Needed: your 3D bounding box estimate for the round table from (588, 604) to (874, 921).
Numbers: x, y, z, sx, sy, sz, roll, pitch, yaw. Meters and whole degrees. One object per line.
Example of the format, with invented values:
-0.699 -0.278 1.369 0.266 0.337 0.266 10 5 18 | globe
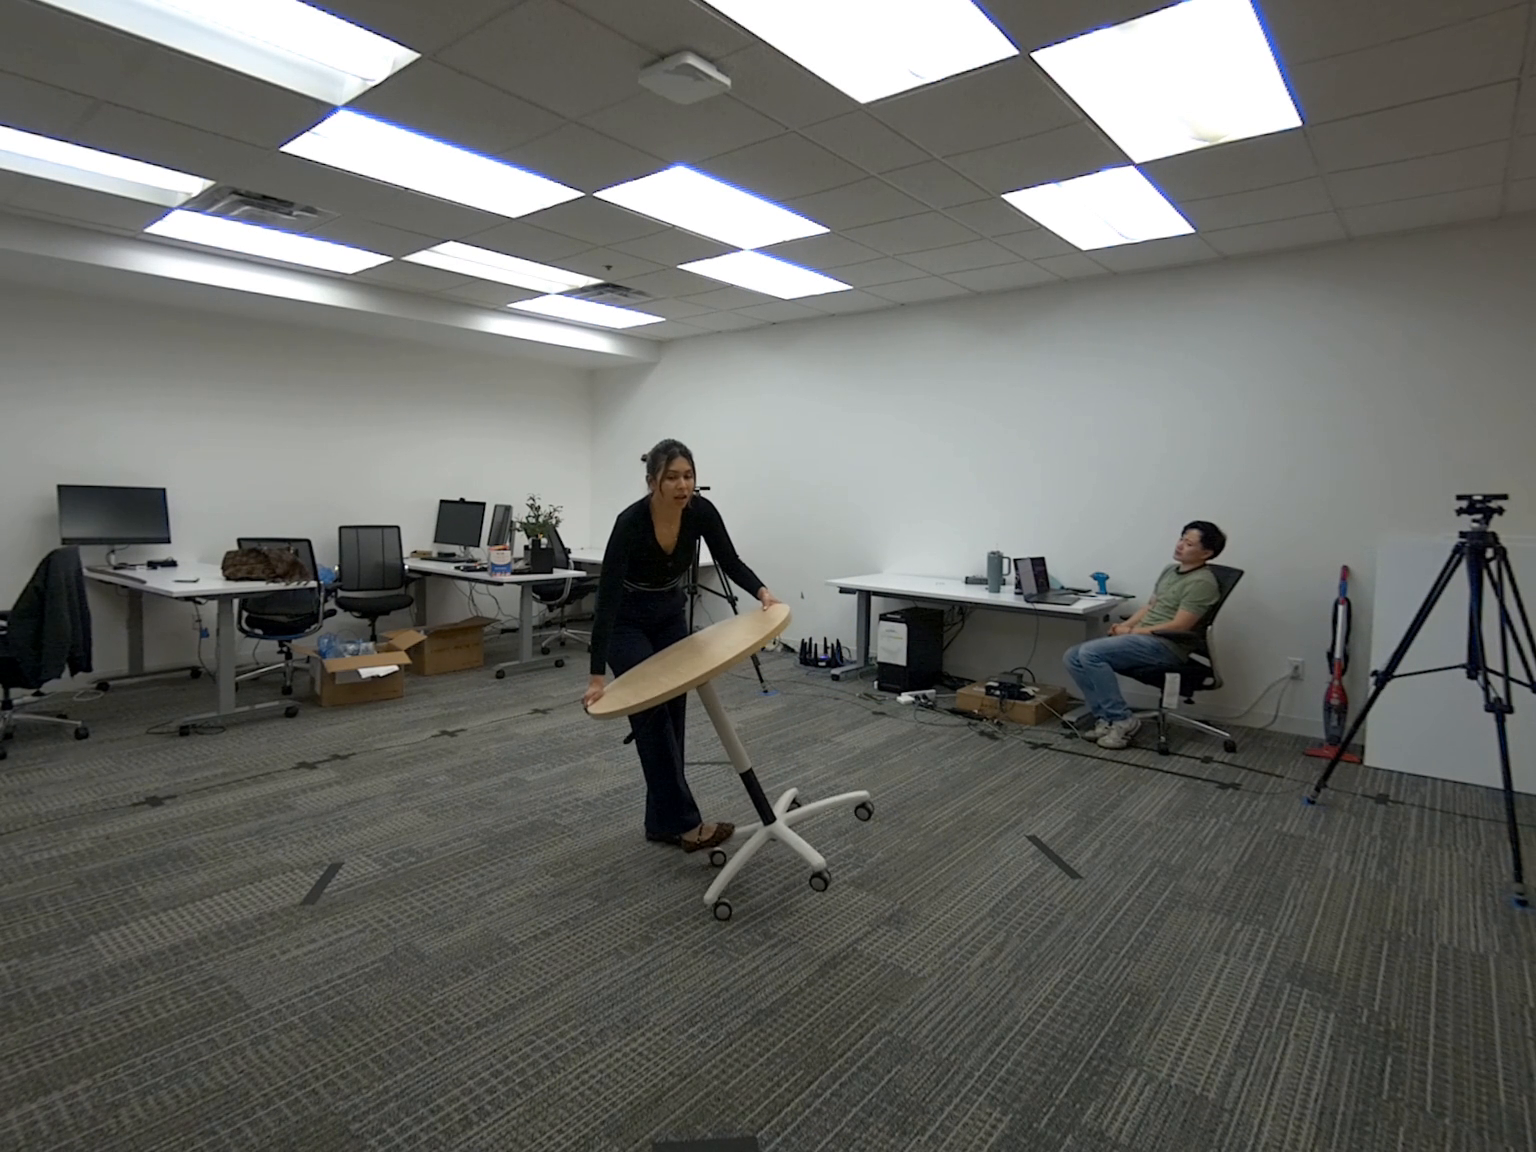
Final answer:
-0.105 0.625 2.926 0.764 0.789 0.769 -25 6 1 | round table
